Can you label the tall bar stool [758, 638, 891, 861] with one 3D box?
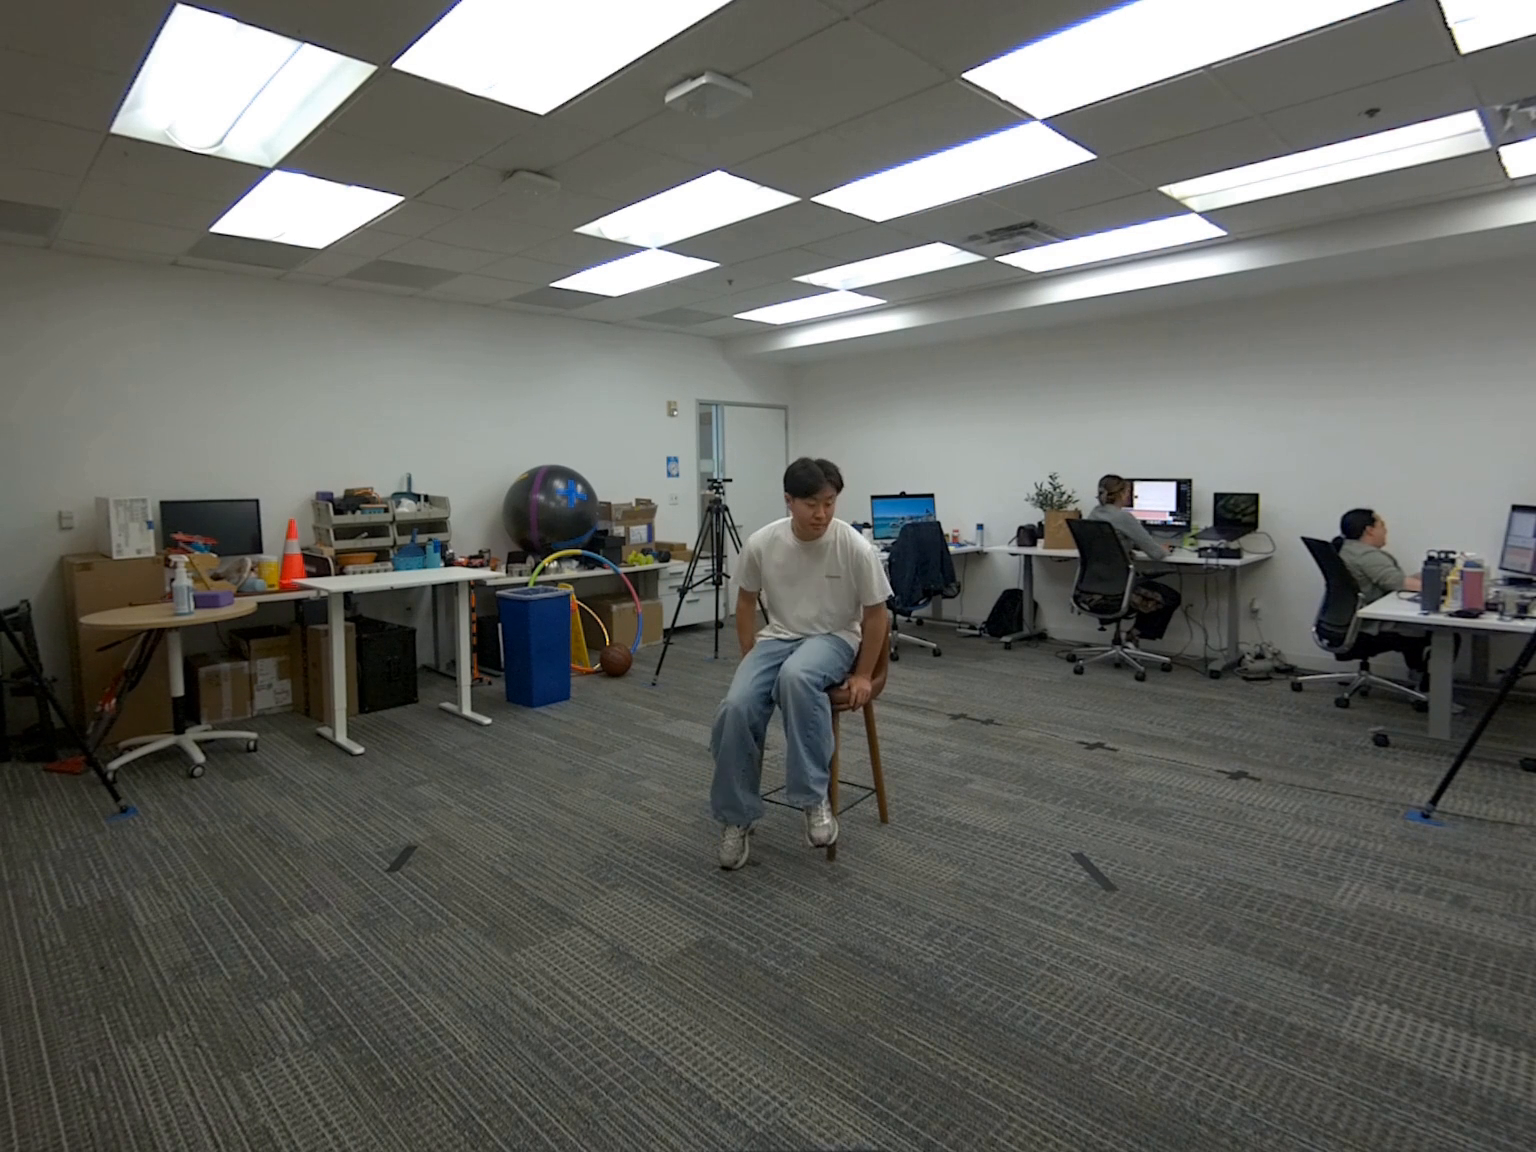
[{"bbox_3d":[0.216,0.573,3.390,0.470,0.888,0.455,3,4,38],"label":"tall bar stool"}]
